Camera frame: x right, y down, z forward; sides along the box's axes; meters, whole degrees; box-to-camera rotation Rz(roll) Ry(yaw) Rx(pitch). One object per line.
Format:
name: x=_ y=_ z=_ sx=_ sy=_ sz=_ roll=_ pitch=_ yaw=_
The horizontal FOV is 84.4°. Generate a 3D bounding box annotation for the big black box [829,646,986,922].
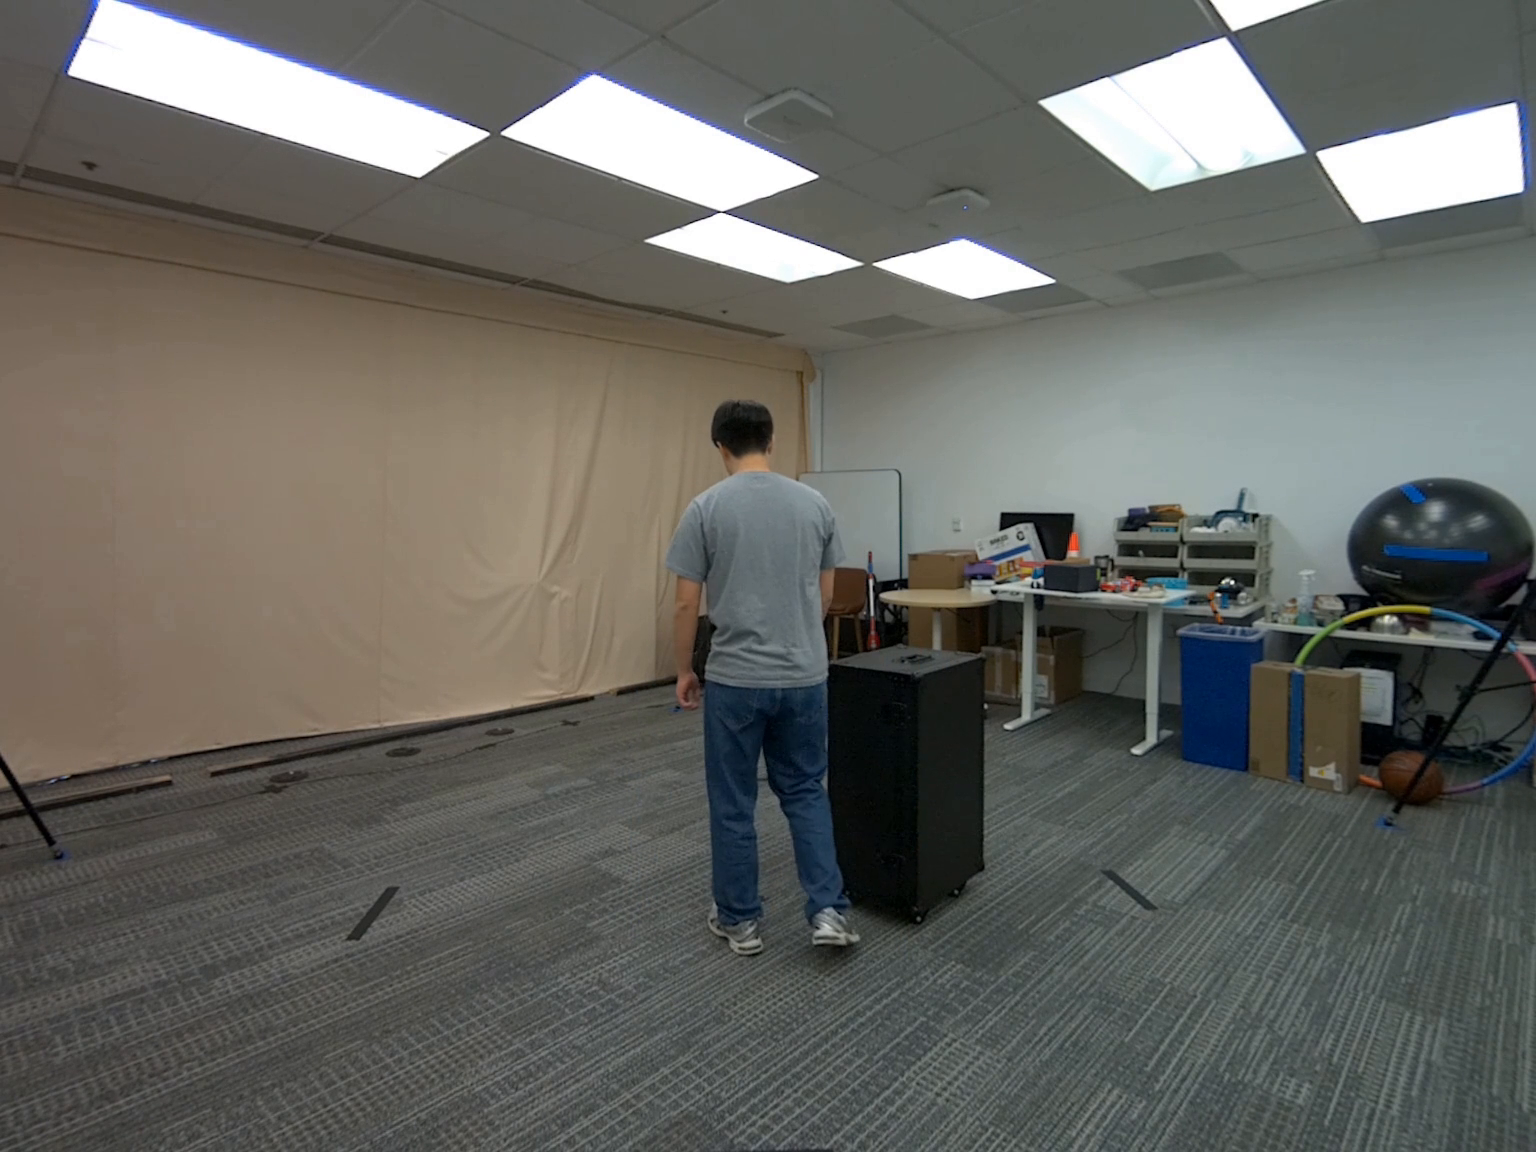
big black box: x=0.493 y=0.718 z=2.987 sx=0.409 sy=0.860 sz=0.505 roll=1 pitch=4 yaw=41
